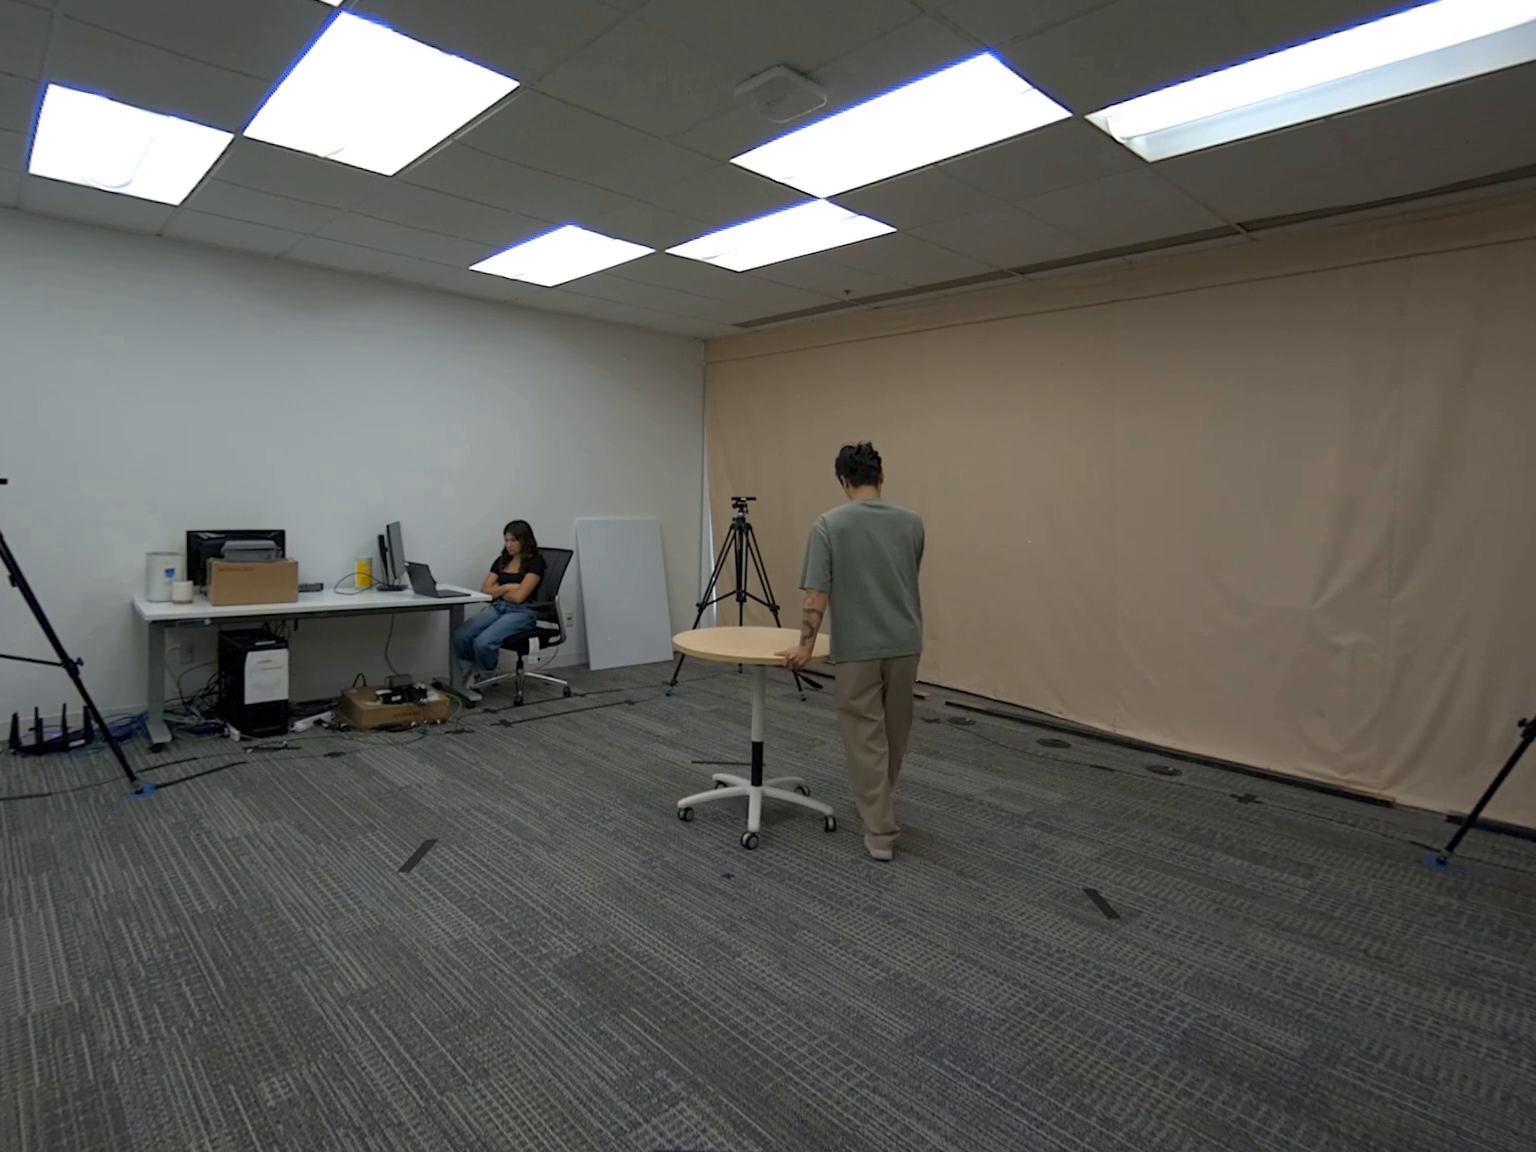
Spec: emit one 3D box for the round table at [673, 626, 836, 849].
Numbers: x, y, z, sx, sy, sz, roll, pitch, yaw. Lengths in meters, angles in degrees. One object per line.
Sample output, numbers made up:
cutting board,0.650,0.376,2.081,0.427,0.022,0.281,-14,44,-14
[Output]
round table,-0.055,0.666,3.694,0.784,0.784,0.788,2,5,-2
